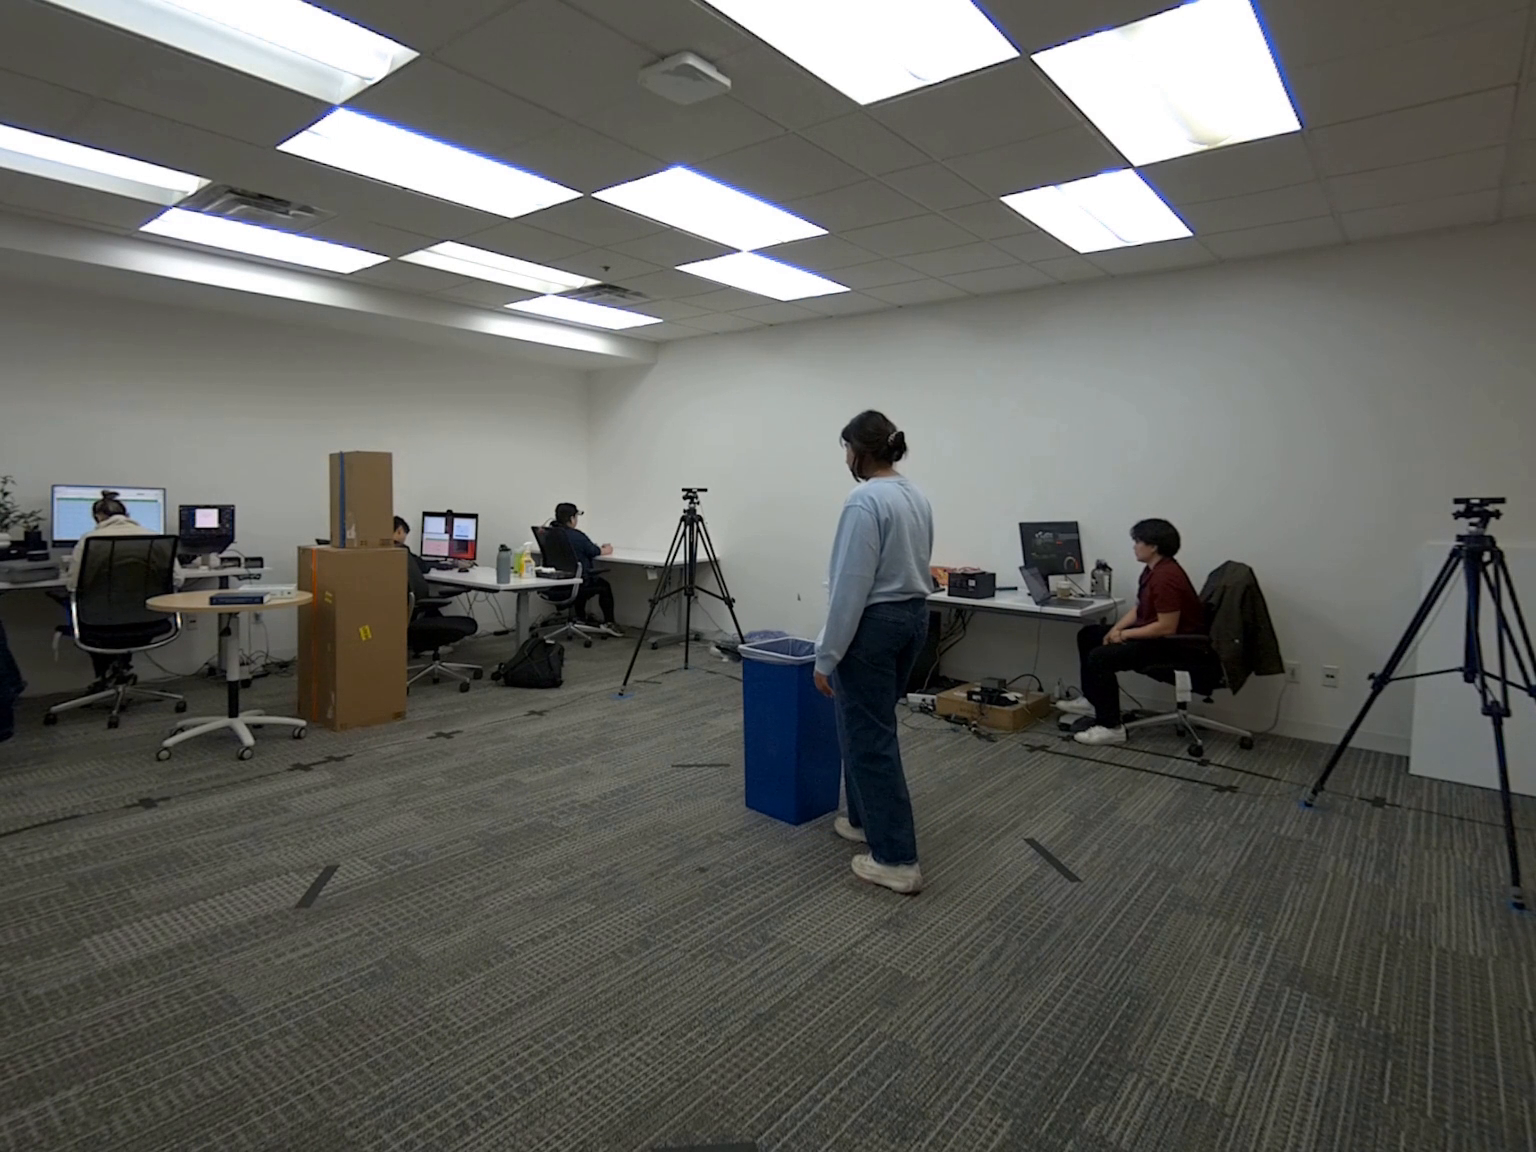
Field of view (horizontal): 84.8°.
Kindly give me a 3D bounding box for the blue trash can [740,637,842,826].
[{"bbox_3d":[0.091,0.661,3.725,0.387,0.711,0.367,4,5,43],"label":"blue trash can"}]
